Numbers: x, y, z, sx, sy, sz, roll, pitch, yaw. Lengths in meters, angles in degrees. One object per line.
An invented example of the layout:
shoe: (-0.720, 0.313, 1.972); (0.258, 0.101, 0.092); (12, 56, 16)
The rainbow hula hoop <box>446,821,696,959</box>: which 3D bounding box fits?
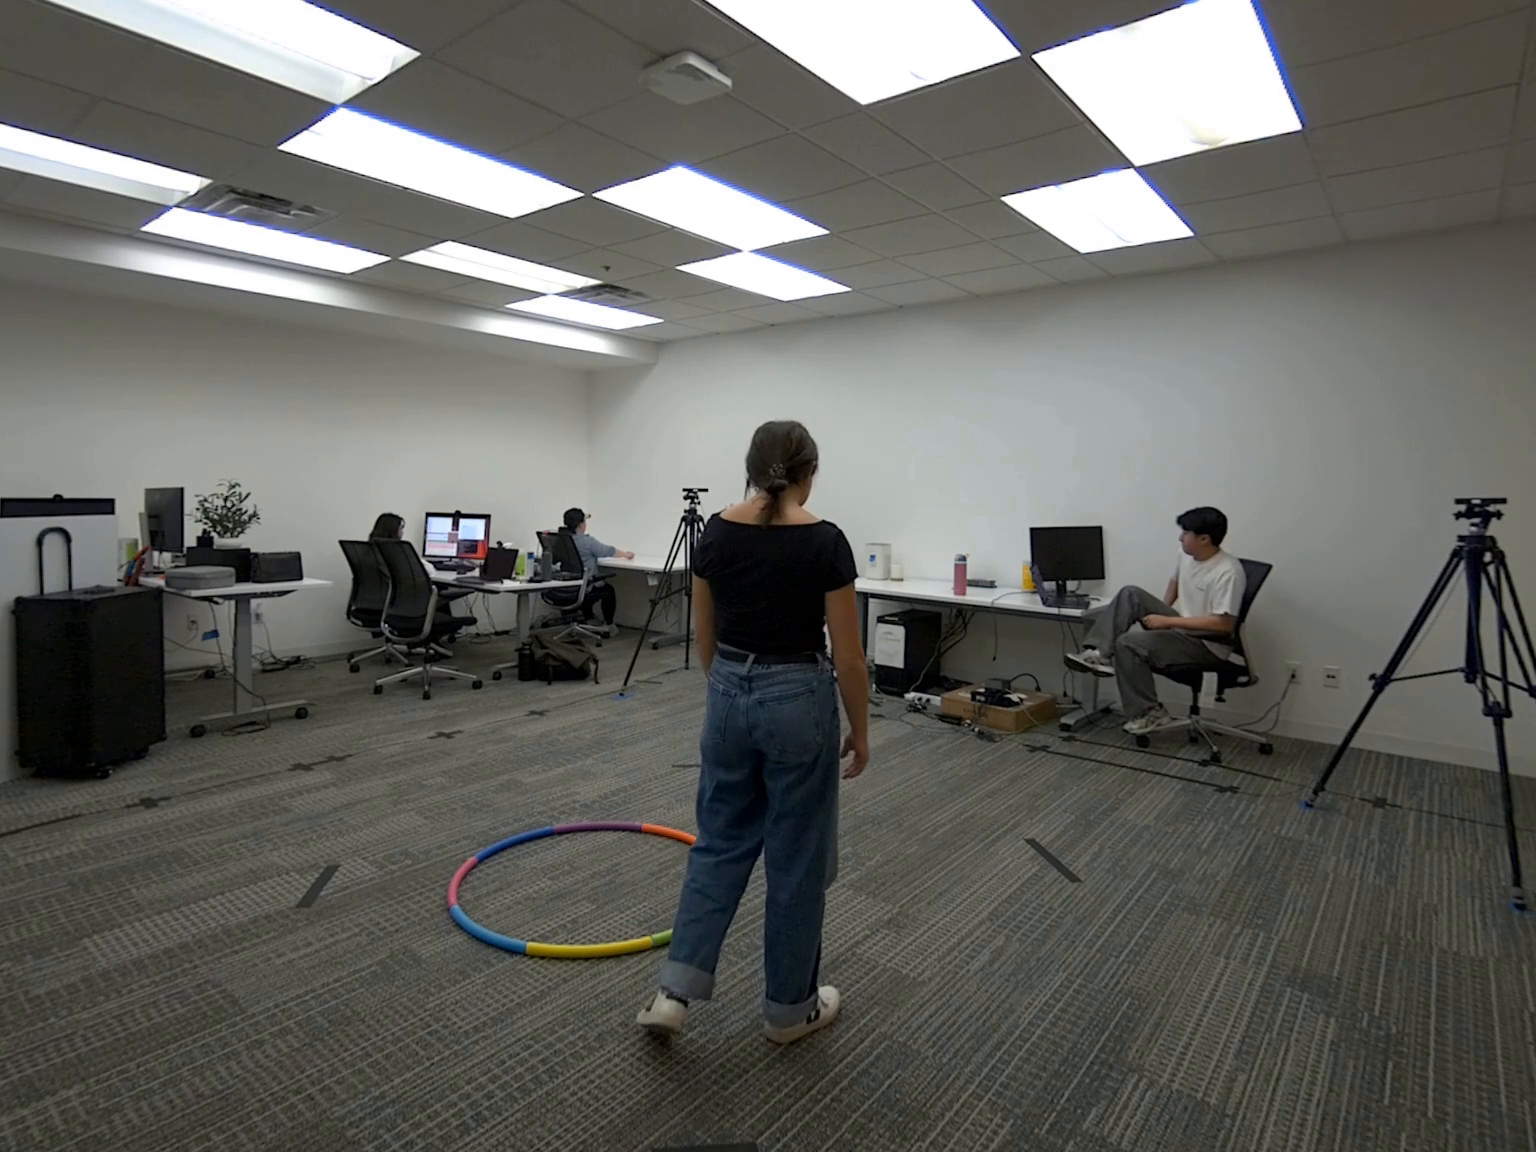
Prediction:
rainbow hula hoop: (-0.604, 1.042, 2.987); (0.978, 0.035, 0.984); (1, 6, -2)
